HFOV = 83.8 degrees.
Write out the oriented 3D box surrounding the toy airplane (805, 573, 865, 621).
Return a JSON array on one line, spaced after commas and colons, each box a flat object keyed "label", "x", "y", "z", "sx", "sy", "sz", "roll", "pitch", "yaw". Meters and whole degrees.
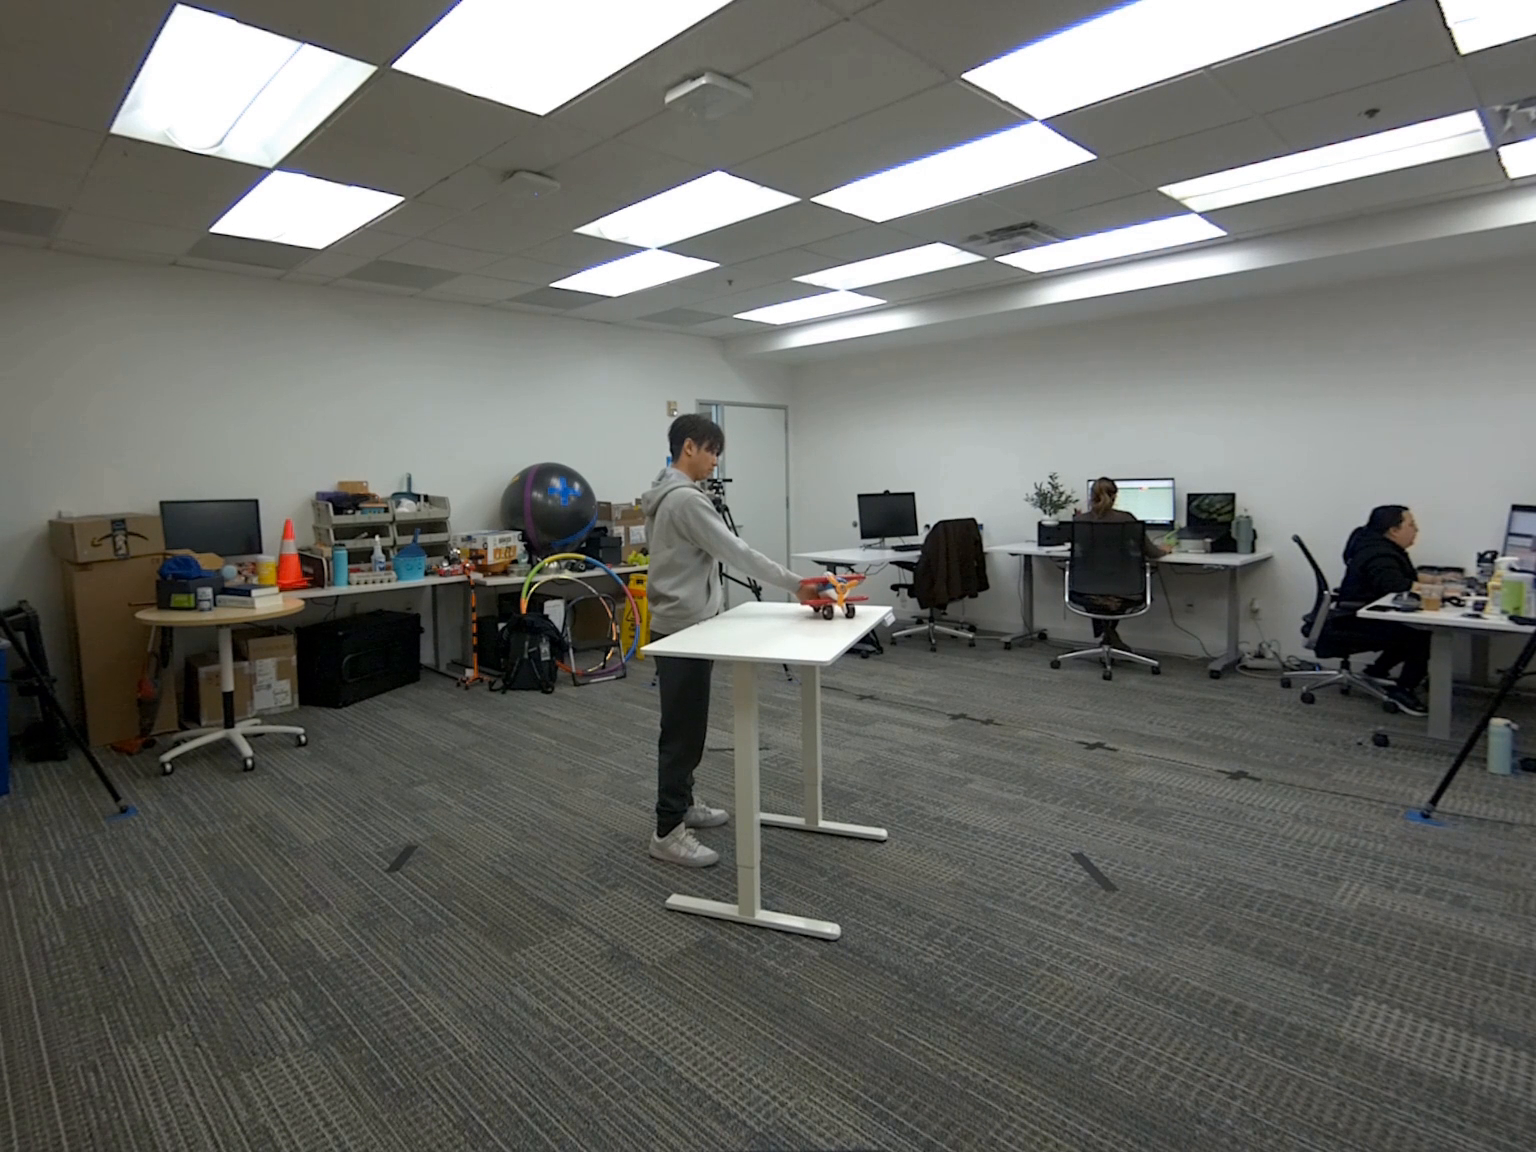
[{"label": "toy airplane", "x": 0.218, "y": 0.070, "z": 3.174, "sx": 0.244, "sy": 0.155, "sz": 0.267, "roll": -6, "pitch": 8, "yaw": -41}]
